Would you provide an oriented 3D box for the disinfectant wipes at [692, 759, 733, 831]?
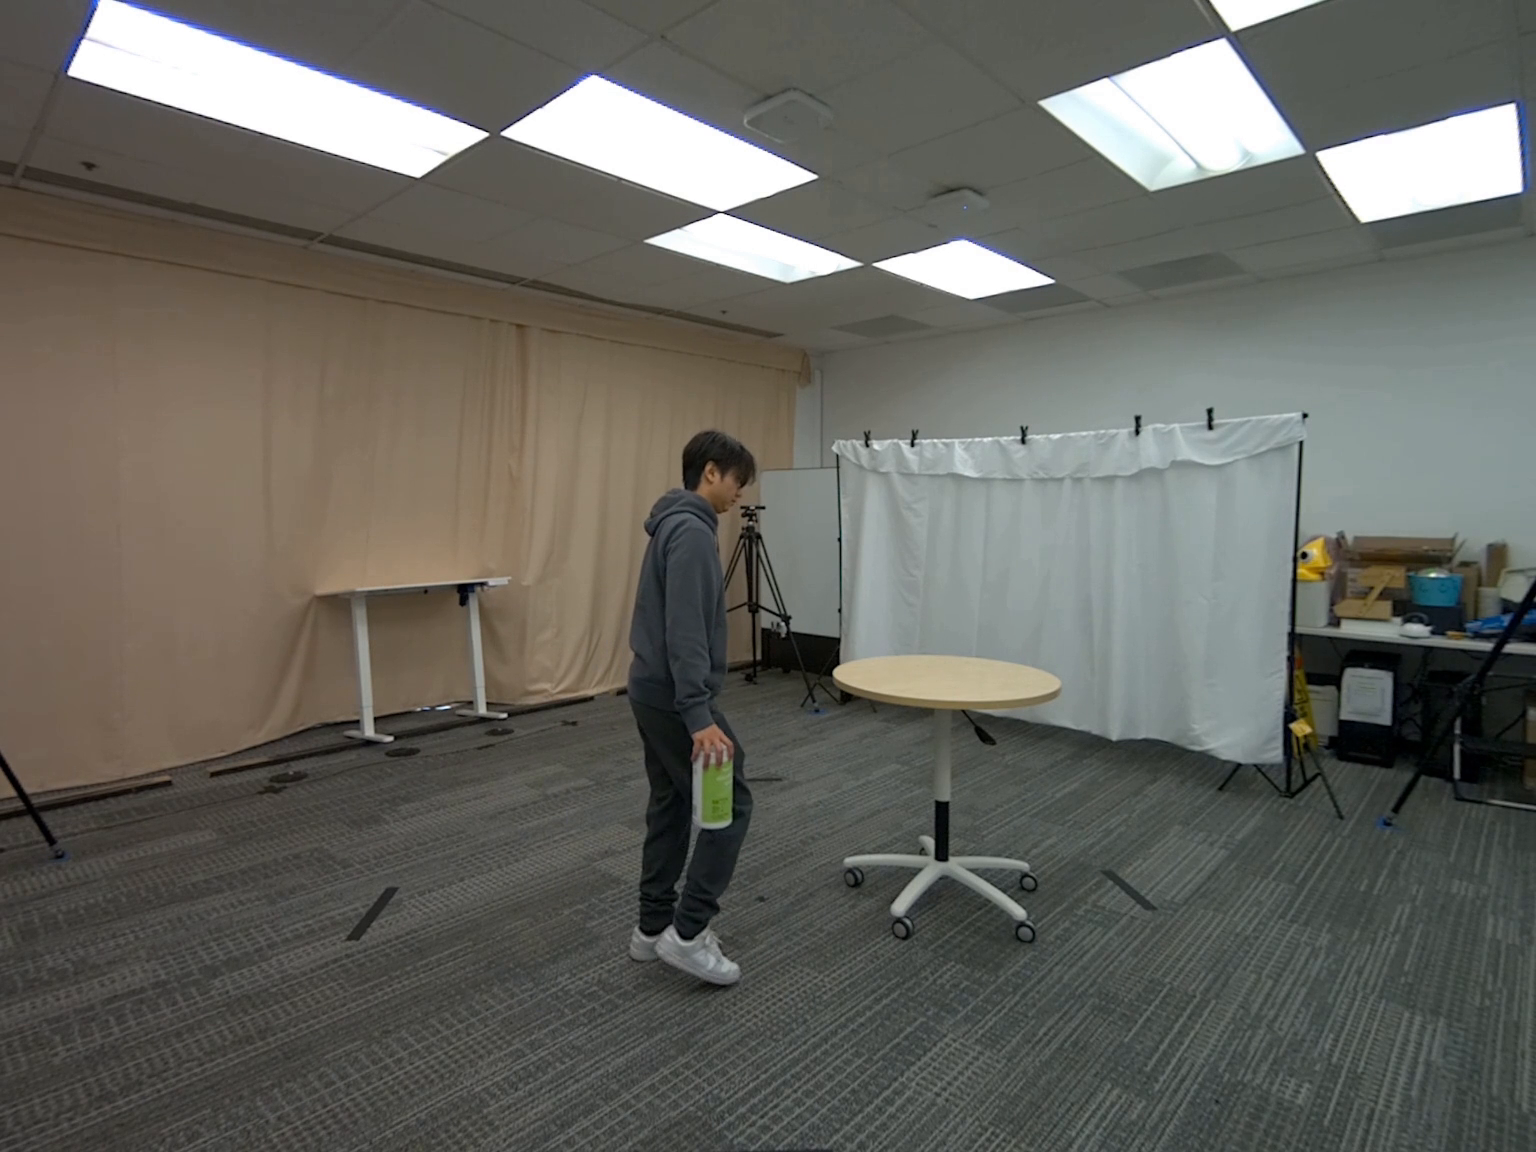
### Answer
[{"bbox_3d":[-0.158,0.567,2.295,0.117,0.217,0.118,1,6,-2],"label":"disinfectant wipes"}]
